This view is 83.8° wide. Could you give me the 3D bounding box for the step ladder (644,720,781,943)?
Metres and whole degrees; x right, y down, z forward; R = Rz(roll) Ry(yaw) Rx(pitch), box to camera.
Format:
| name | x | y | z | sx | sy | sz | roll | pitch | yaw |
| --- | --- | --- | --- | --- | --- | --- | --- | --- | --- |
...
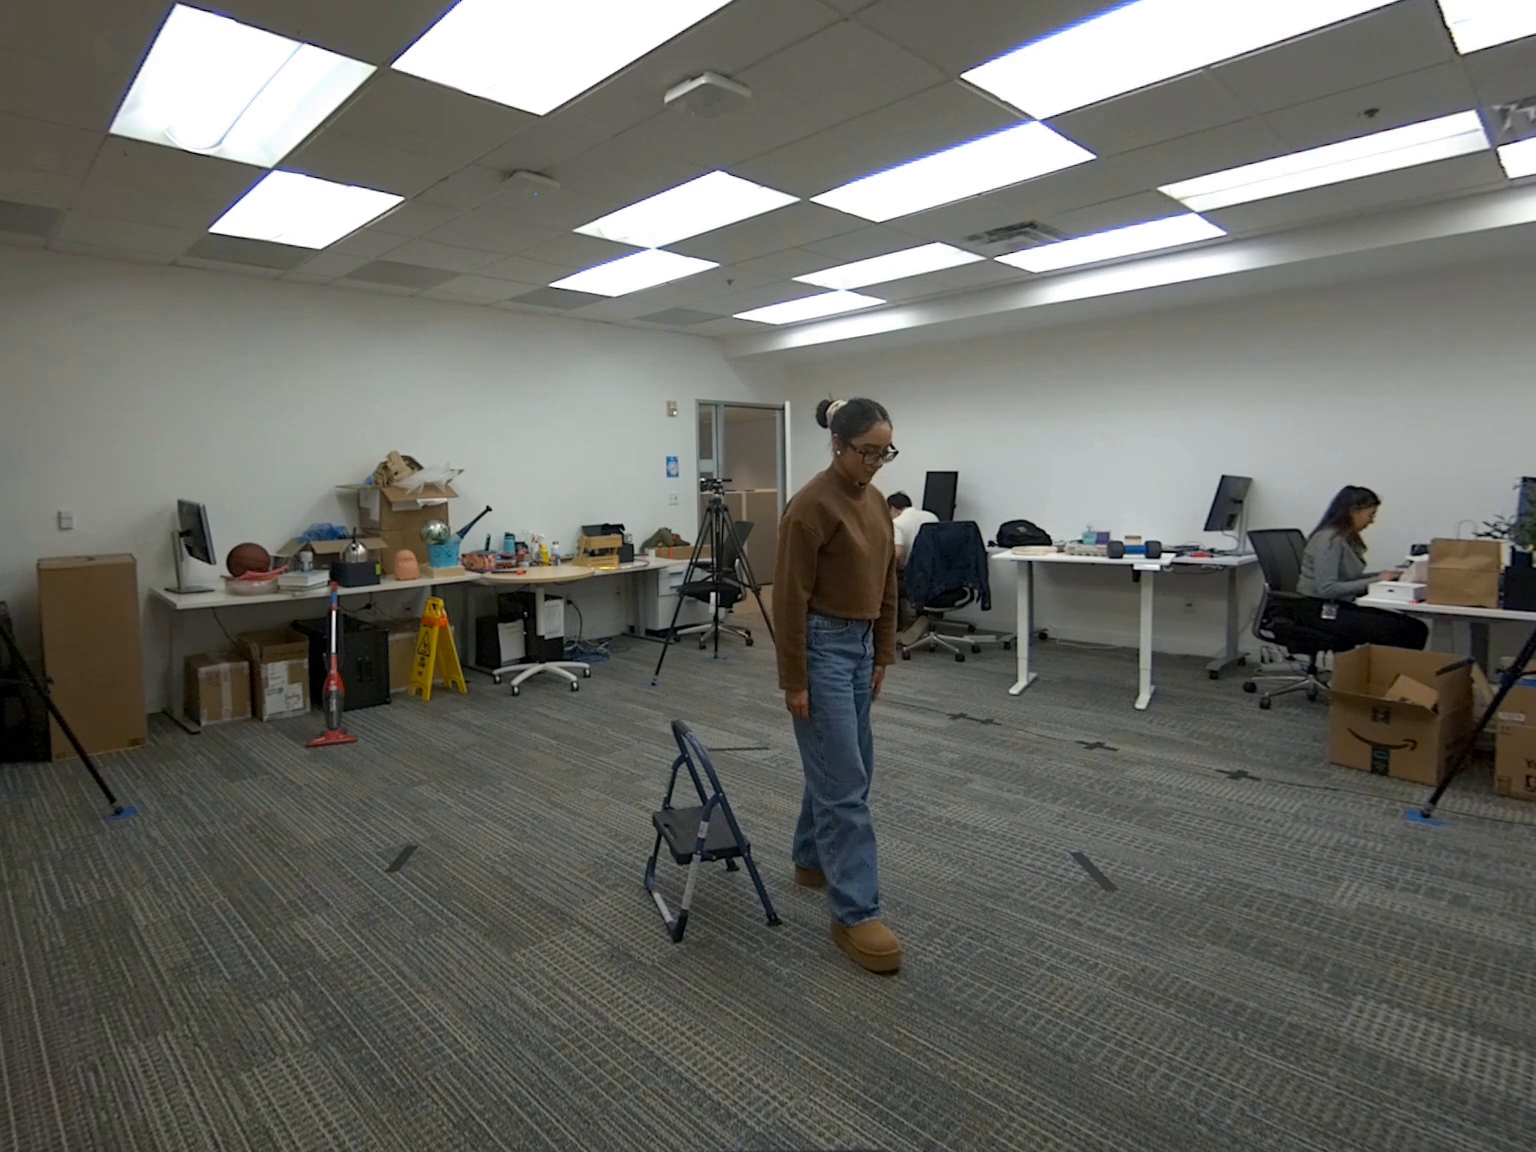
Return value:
| name | x | y | z | sx | sy | sz | roll | pitch | yaw |
| --- | --- | --- | --- | --- | --- | --- | --- | --- | --- |
| step ladder | -0.194 | 0.782 | 2.804 | 0.343 | 0.604 | 0.440 | -2 | 5 | -21 |
